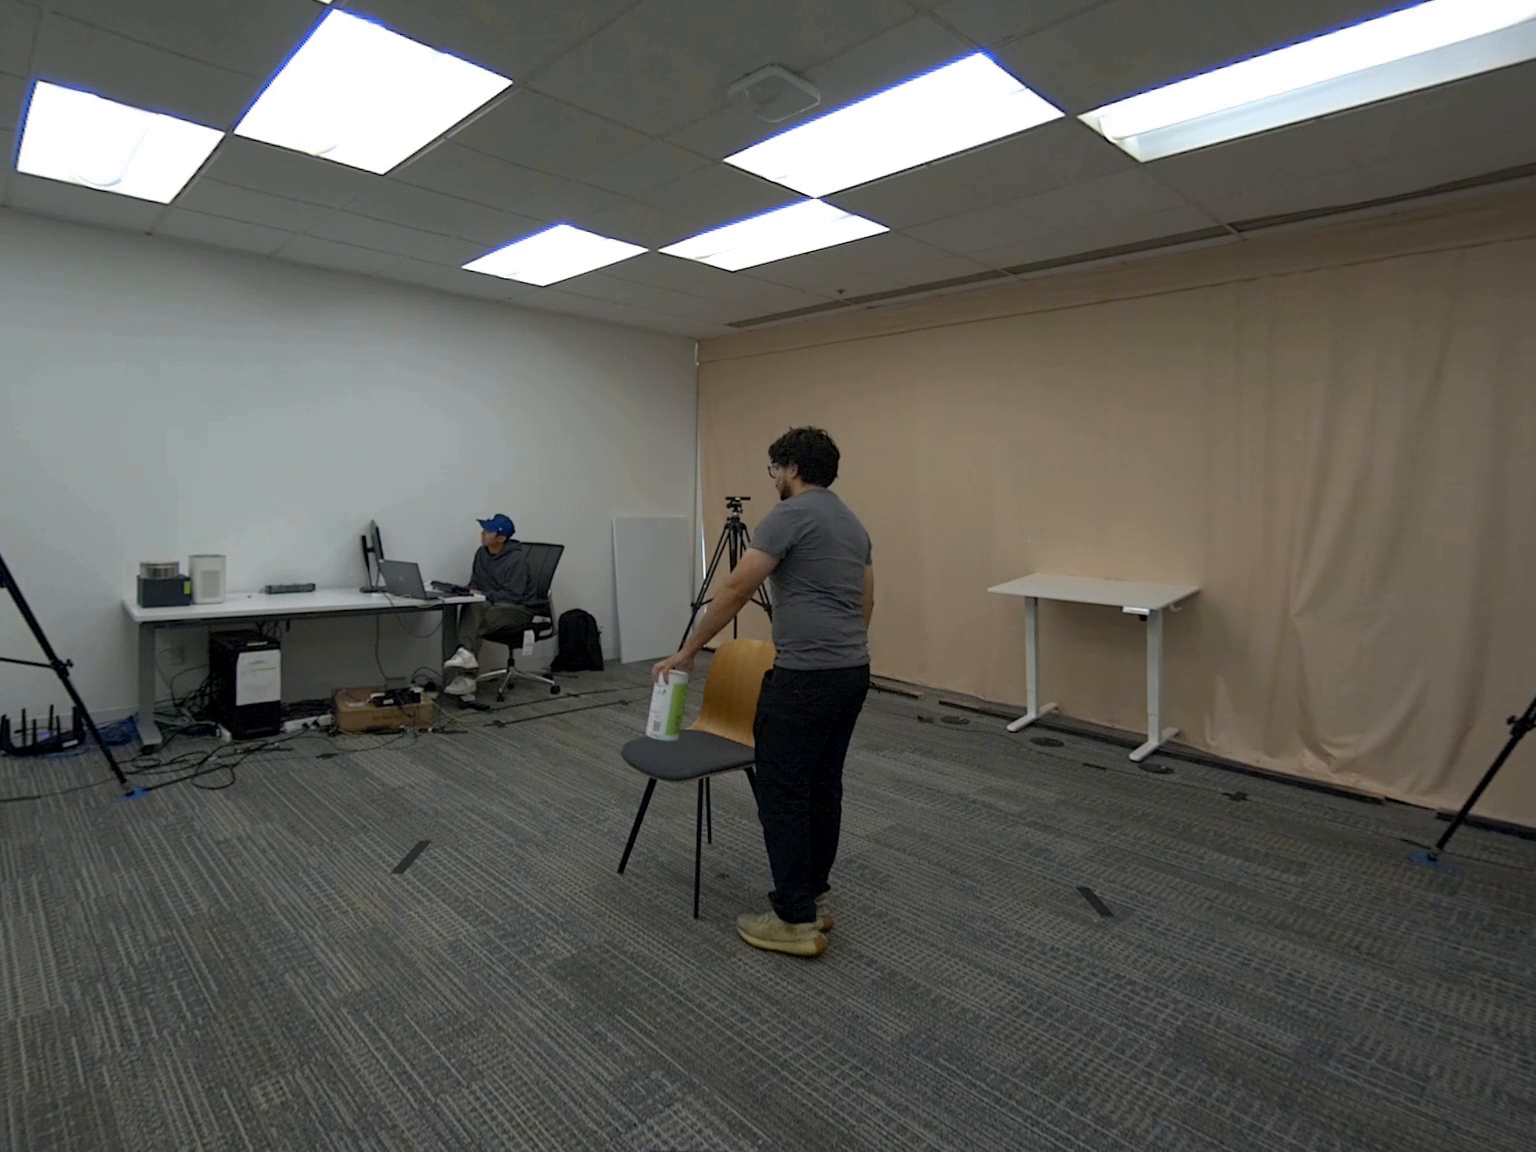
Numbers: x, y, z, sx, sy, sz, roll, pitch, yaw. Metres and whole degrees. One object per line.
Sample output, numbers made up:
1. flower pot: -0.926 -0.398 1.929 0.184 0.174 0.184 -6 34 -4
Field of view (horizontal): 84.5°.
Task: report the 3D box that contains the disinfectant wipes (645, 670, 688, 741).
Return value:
1. disinfectant wipes: -0.316 0.419 2.722 0.118 0.217 0.118 9 -1 -1
